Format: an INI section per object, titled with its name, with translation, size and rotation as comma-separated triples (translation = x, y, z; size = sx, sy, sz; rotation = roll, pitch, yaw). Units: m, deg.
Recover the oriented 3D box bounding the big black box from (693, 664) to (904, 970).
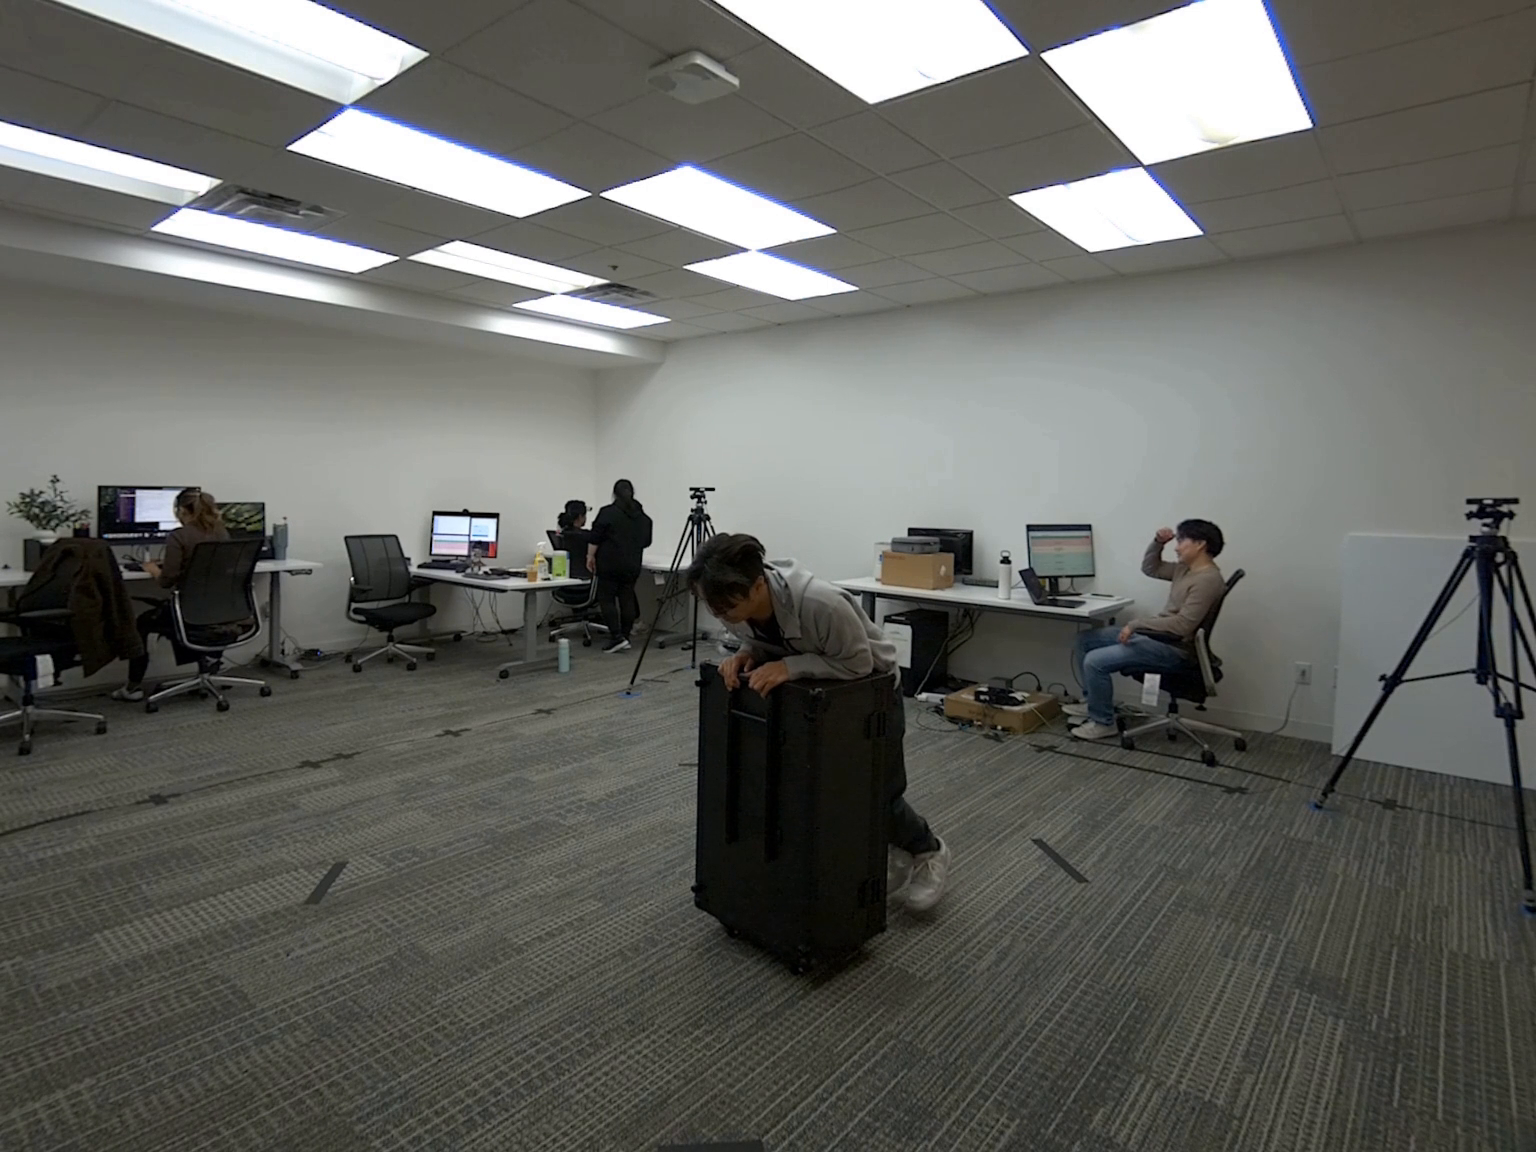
[big black box]
translation = 0.060, 0.708, 2.589
size = 0.384, 0.858, 0.539
rotation = -3, 6, -44
